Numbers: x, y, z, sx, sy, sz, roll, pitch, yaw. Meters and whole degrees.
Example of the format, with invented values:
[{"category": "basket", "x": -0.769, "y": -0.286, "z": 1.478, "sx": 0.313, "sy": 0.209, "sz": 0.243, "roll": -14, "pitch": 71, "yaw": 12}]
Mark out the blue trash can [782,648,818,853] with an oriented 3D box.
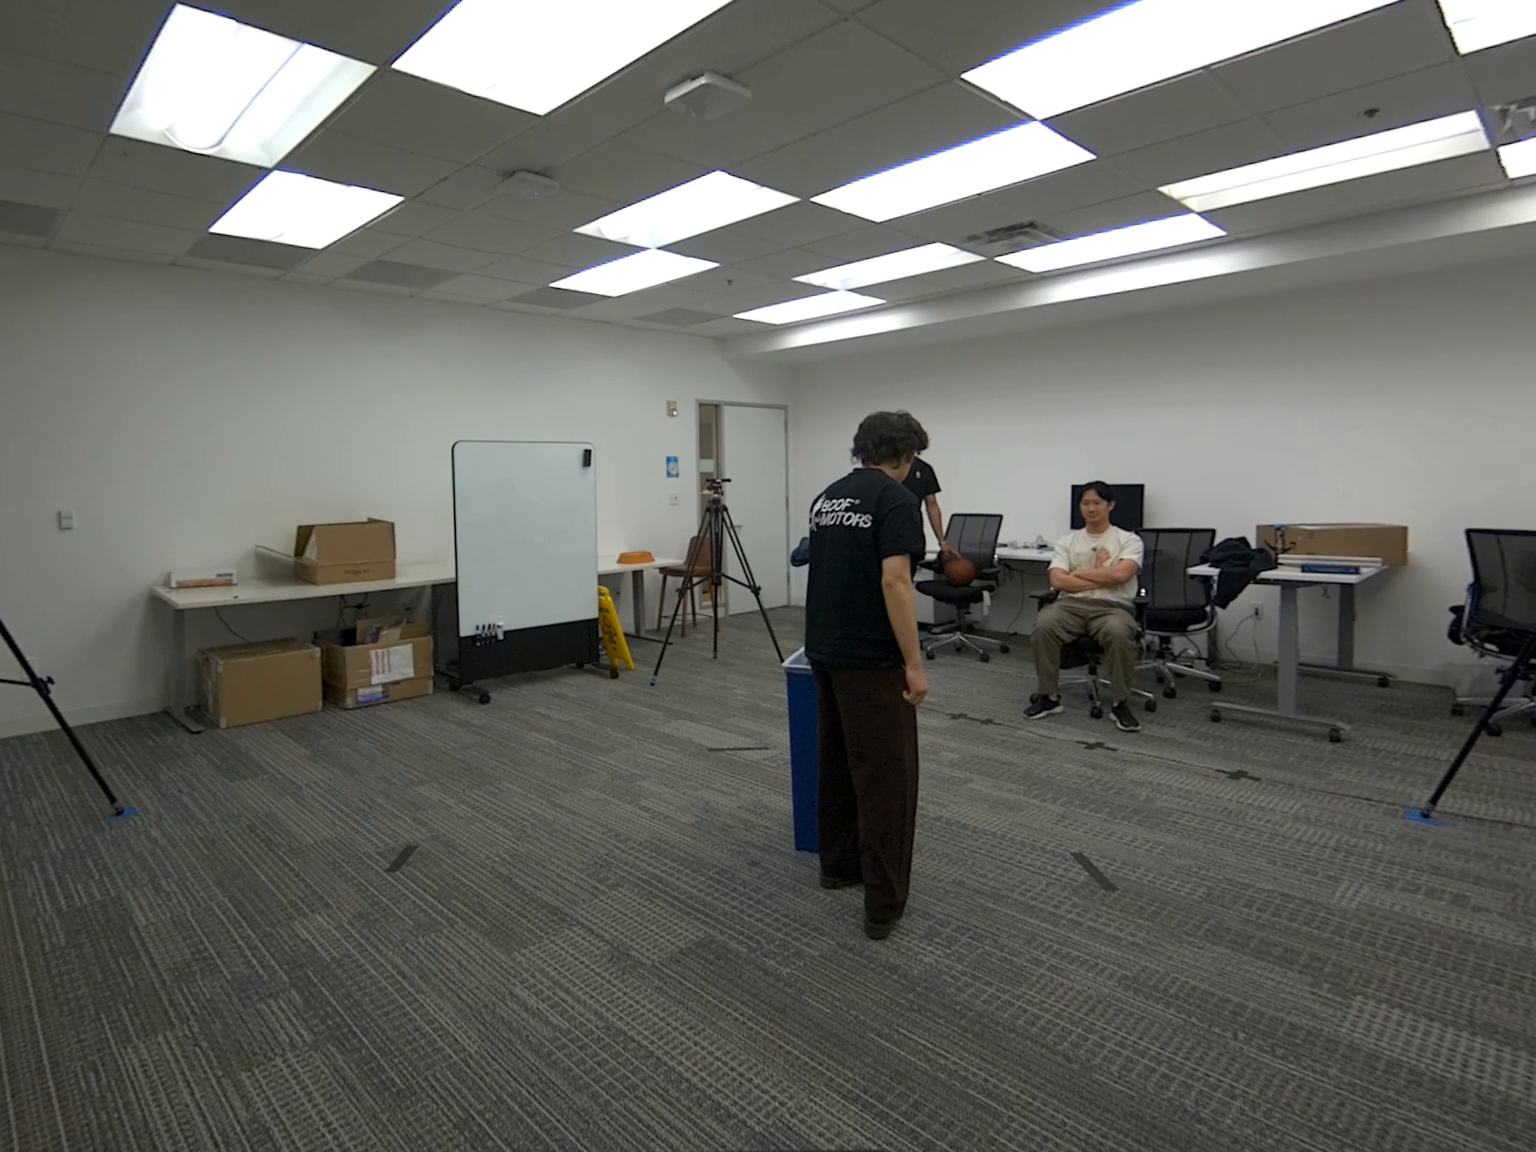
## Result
[{"category": "blue trash can", "x": 0.283, "y": 0.662, "z": 3.271, "sx": 0.385, "sy": 0.711, "sz": 0.369, "roll": 0, "pitch": 4, "yaw": 18}]
